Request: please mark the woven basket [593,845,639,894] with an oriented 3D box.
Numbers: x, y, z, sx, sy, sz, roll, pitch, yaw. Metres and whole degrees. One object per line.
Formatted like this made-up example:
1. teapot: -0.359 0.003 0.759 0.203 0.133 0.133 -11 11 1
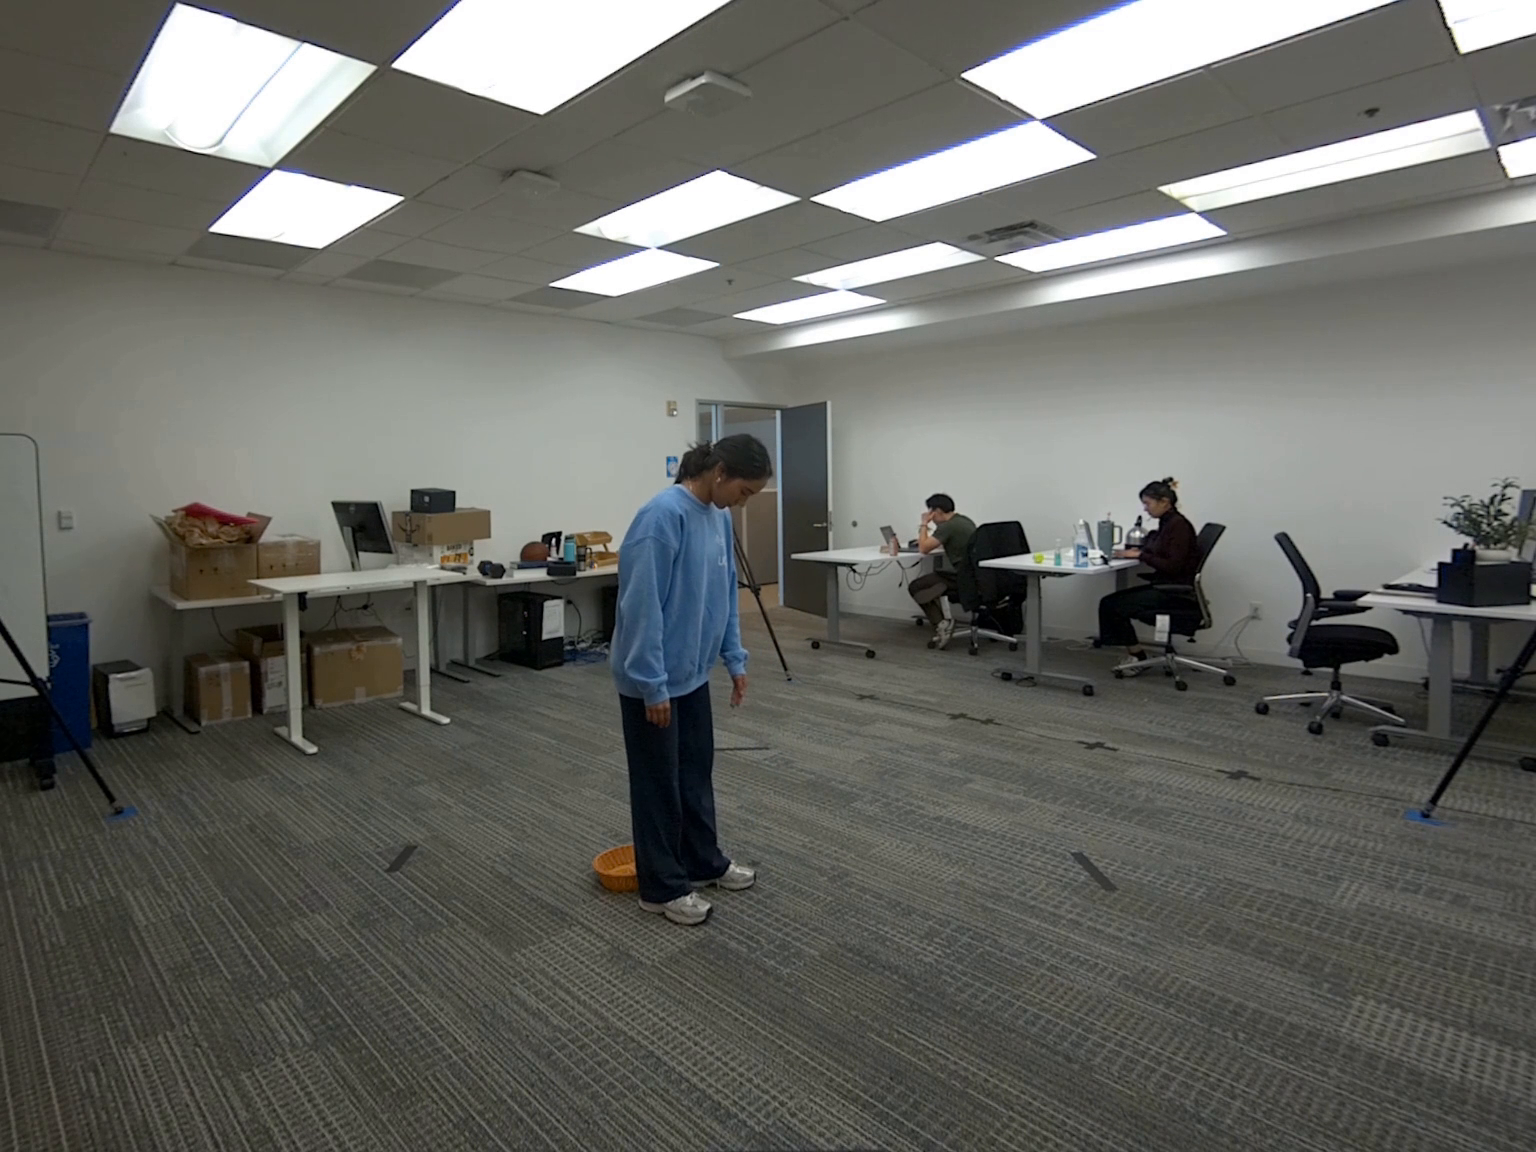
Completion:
1. woven basket: -0.440 1.022 3.008 0.344 0.073 0.258 -5 6 -23
